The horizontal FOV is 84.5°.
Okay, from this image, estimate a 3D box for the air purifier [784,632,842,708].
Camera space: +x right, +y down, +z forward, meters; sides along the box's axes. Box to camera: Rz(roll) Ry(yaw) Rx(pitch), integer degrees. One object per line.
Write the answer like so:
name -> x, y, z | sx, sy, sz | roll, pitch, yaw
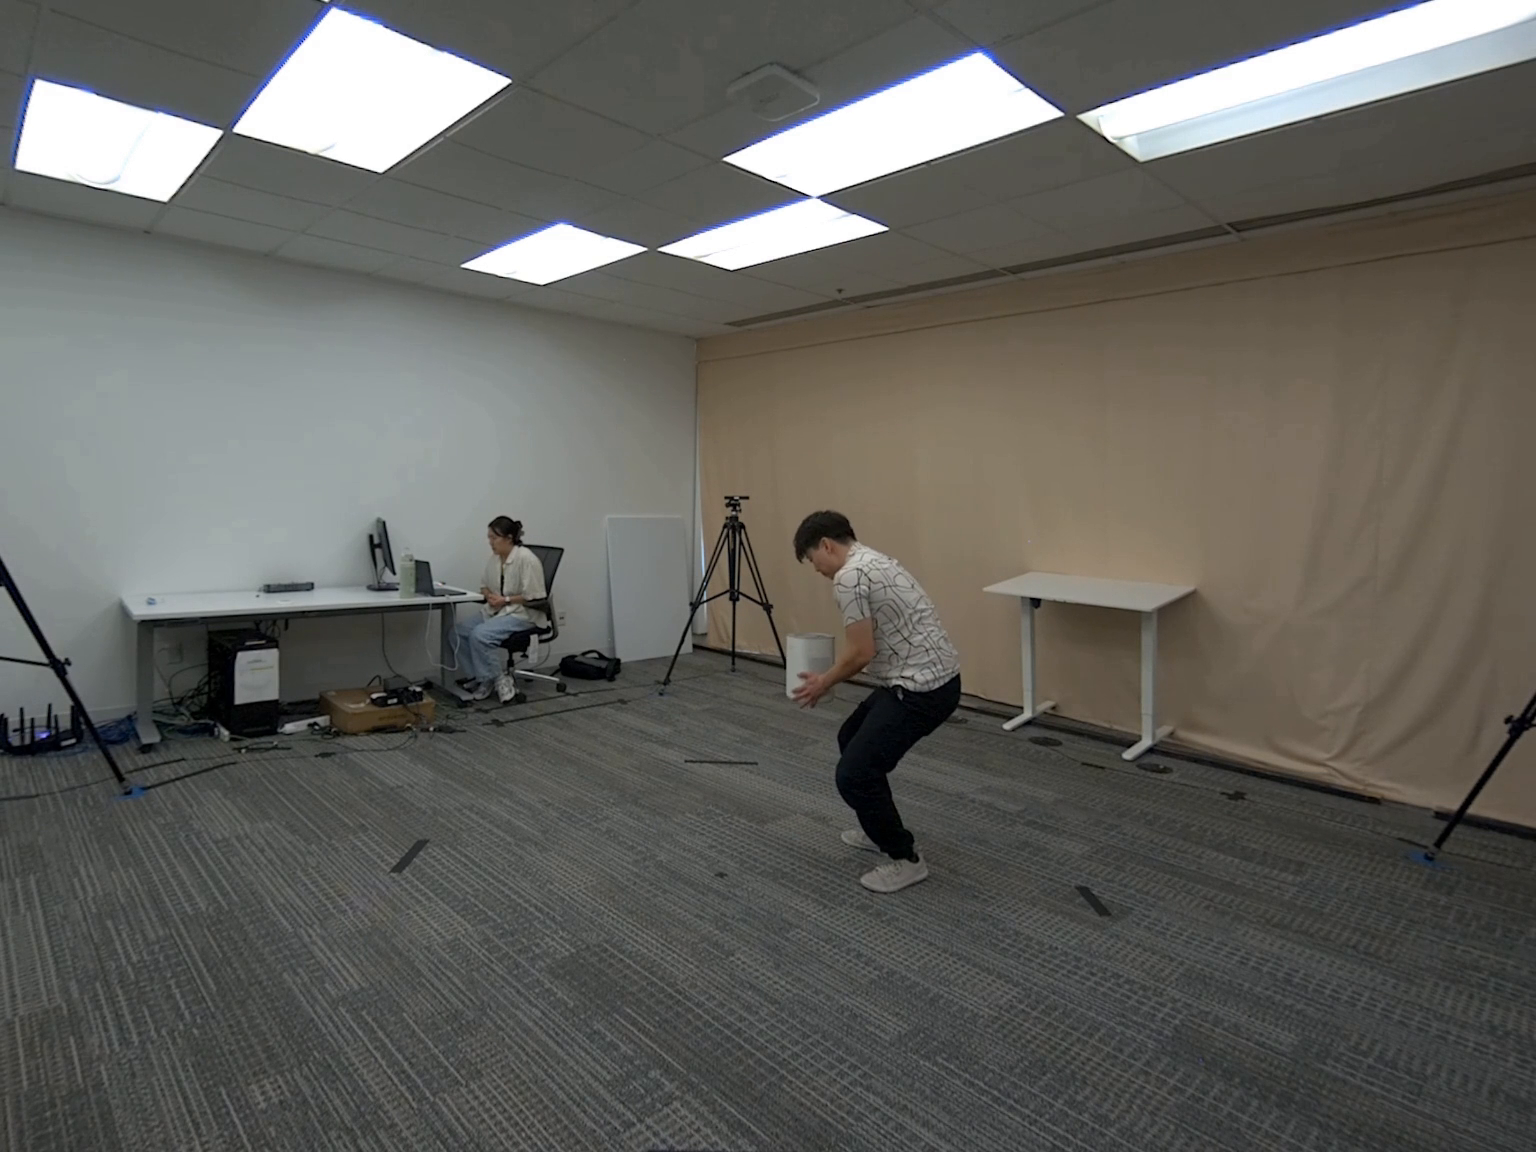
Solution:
air purifier -> 0.175, 0.368, 3.366 | 0.169, 0.265, 0.174 | -2, 1, -17
